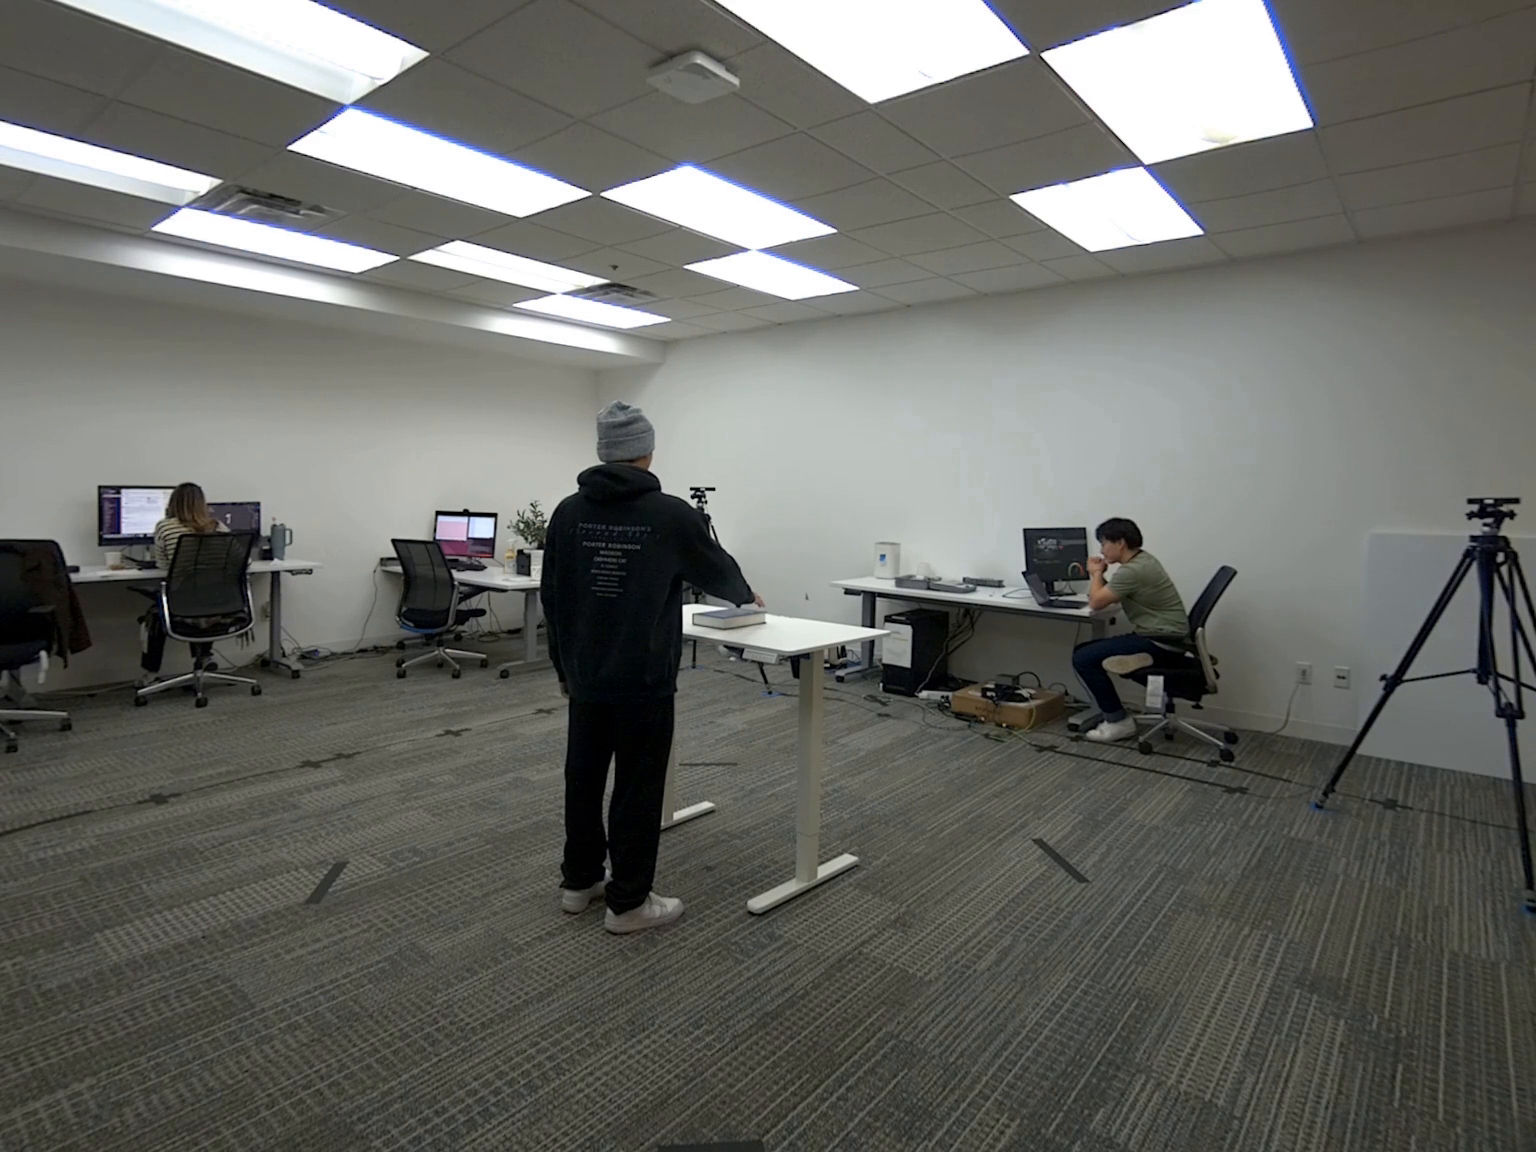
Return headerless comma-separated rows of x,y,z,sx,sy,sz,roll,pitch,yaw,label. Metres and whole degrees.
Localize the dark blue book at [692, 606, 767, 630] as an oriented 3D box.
-0.153,0.157,3.191,0.169,0.045,0.238,5,7,41,dark blue book
